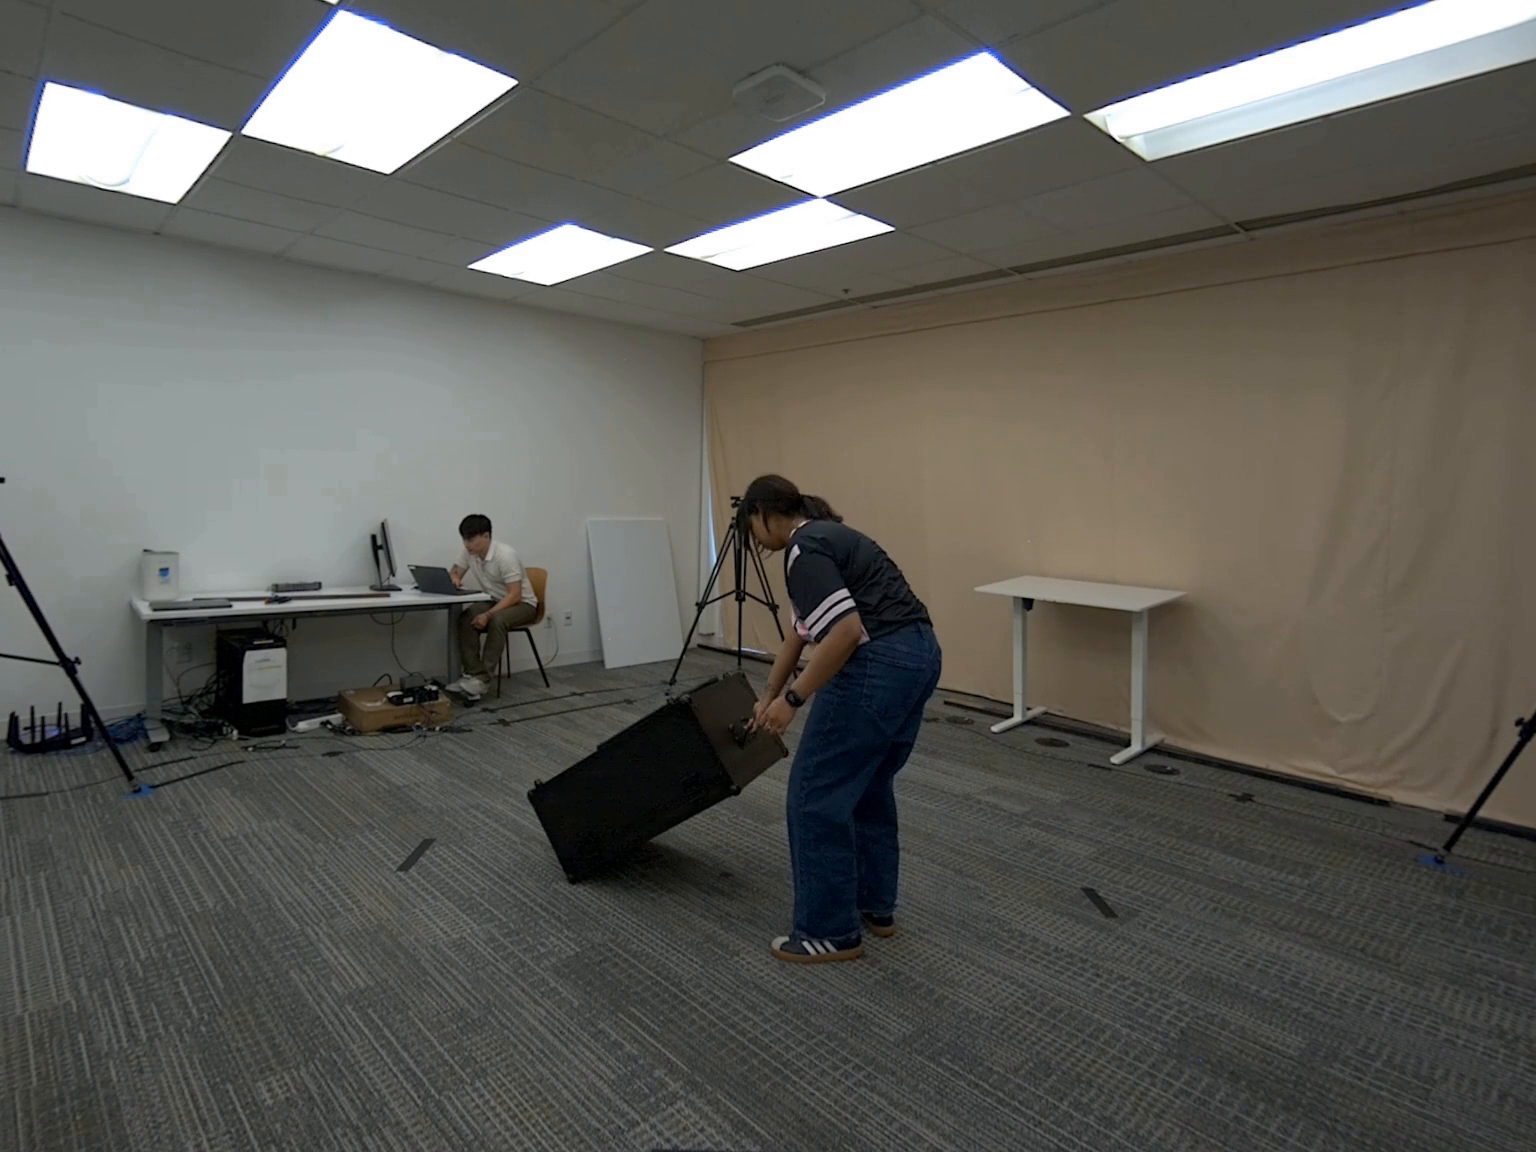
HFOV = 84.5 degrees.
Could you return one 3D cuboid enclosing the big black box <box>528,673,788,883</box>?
[{"bbox_3d":[-0.435,0.740,3.122,0.865,0.400,0.513,-34,-9,21],"label":"big black box"}]
